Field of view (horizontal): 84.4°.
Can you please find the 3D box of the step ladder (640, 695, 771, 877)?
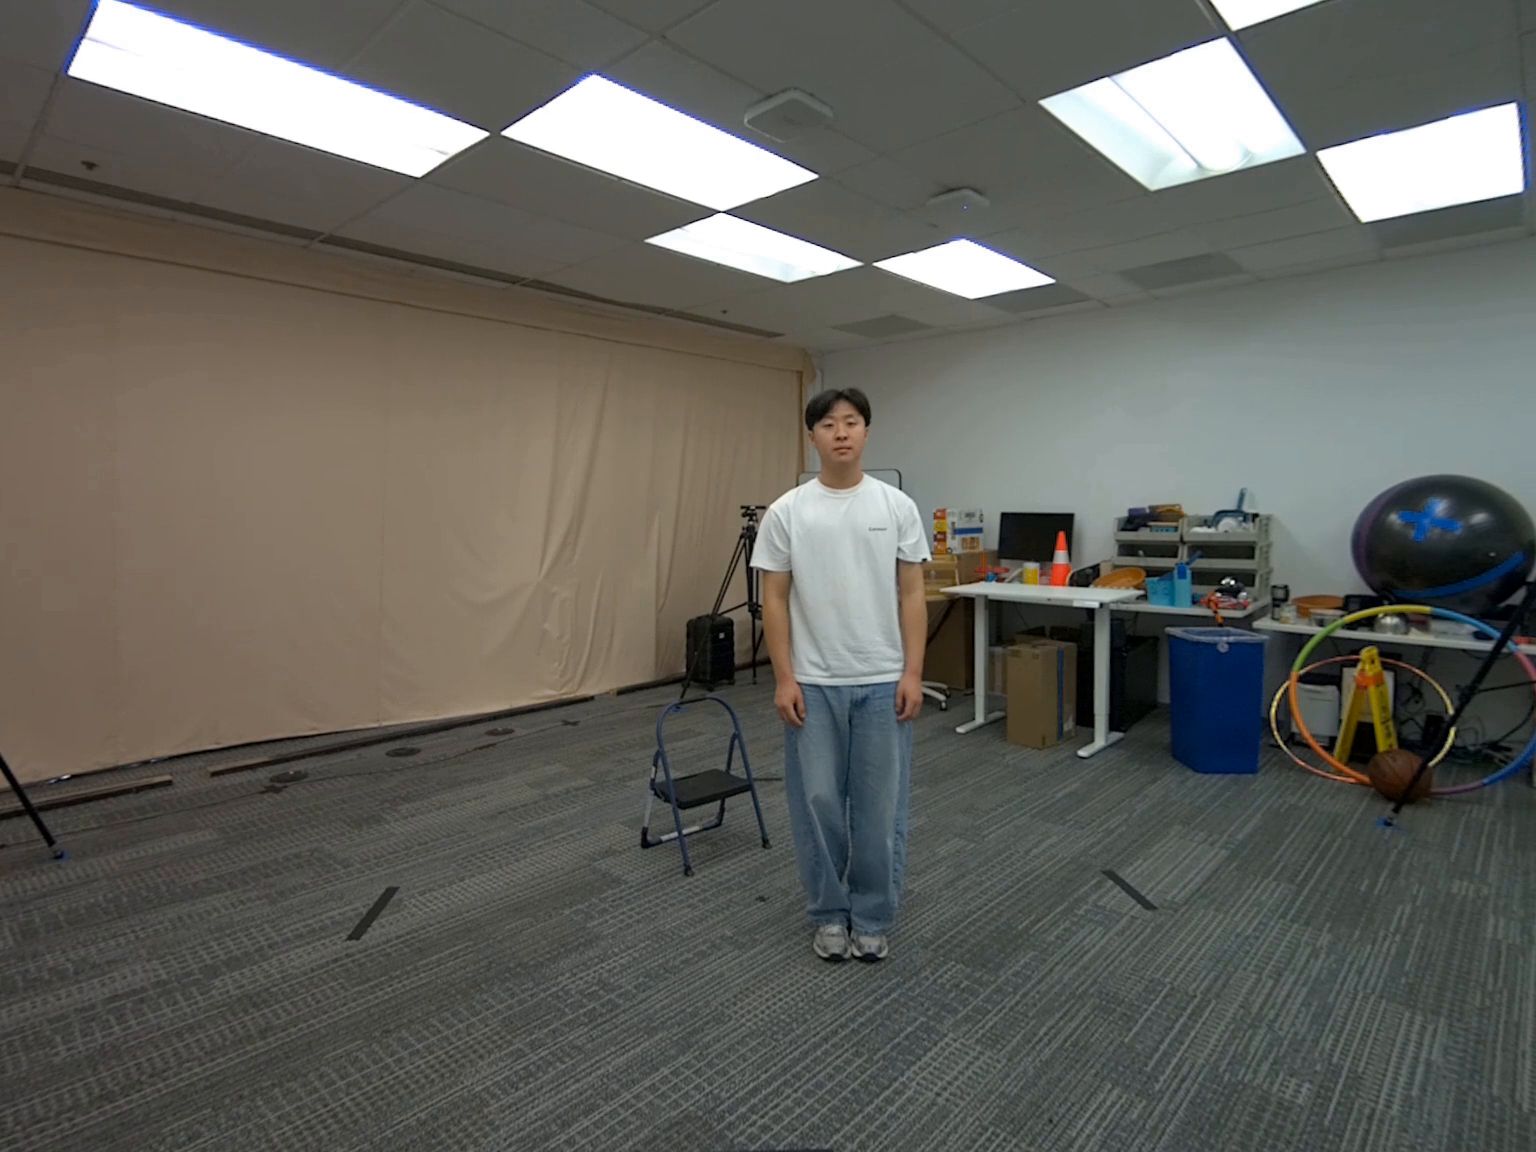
[{"bbox_3d":[-0.256,0.804,3.418,0.417,0.605,0.361,-3,4,-40],"label":"step ladder"}]
